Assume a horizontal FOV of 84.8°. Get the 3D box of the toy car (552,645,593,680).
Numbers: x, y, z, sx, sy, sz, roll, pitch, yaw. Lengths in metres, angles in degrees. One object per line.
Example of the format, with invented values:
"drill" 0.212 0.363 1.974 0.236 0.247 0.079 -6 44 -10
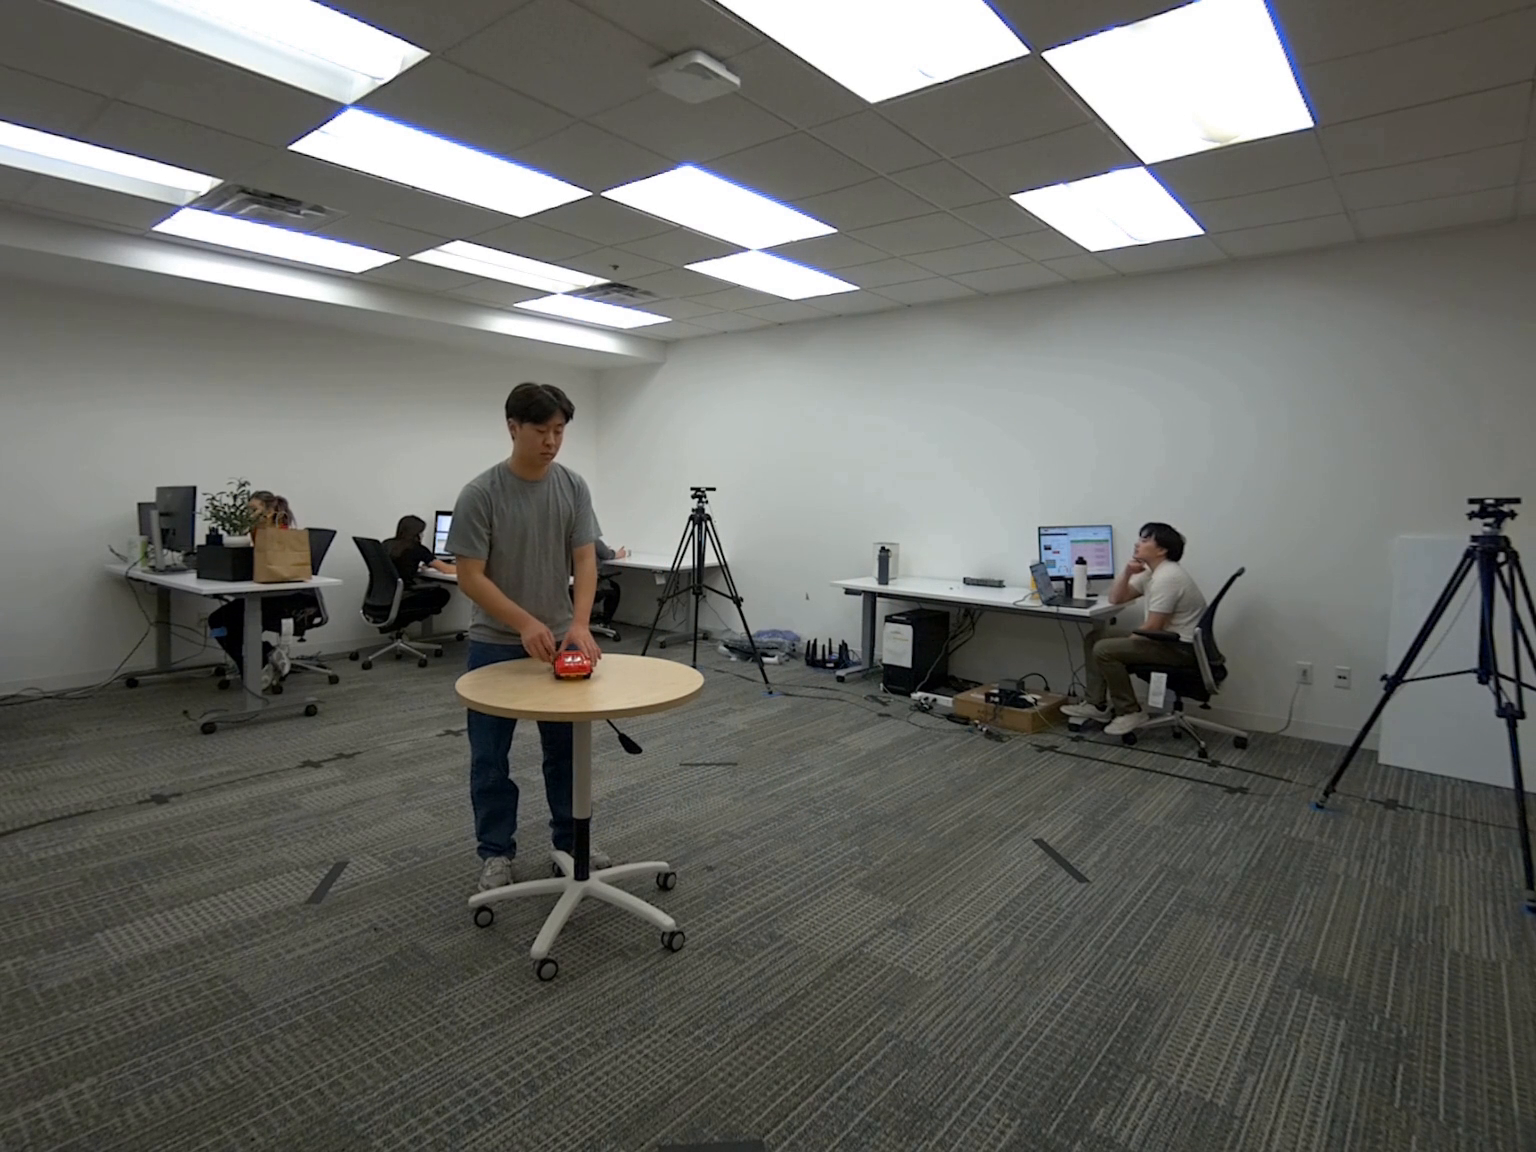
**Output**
"toy car" -0.643 0.286 2.707 0.128 0.084 0.256 -1 -5 -15
